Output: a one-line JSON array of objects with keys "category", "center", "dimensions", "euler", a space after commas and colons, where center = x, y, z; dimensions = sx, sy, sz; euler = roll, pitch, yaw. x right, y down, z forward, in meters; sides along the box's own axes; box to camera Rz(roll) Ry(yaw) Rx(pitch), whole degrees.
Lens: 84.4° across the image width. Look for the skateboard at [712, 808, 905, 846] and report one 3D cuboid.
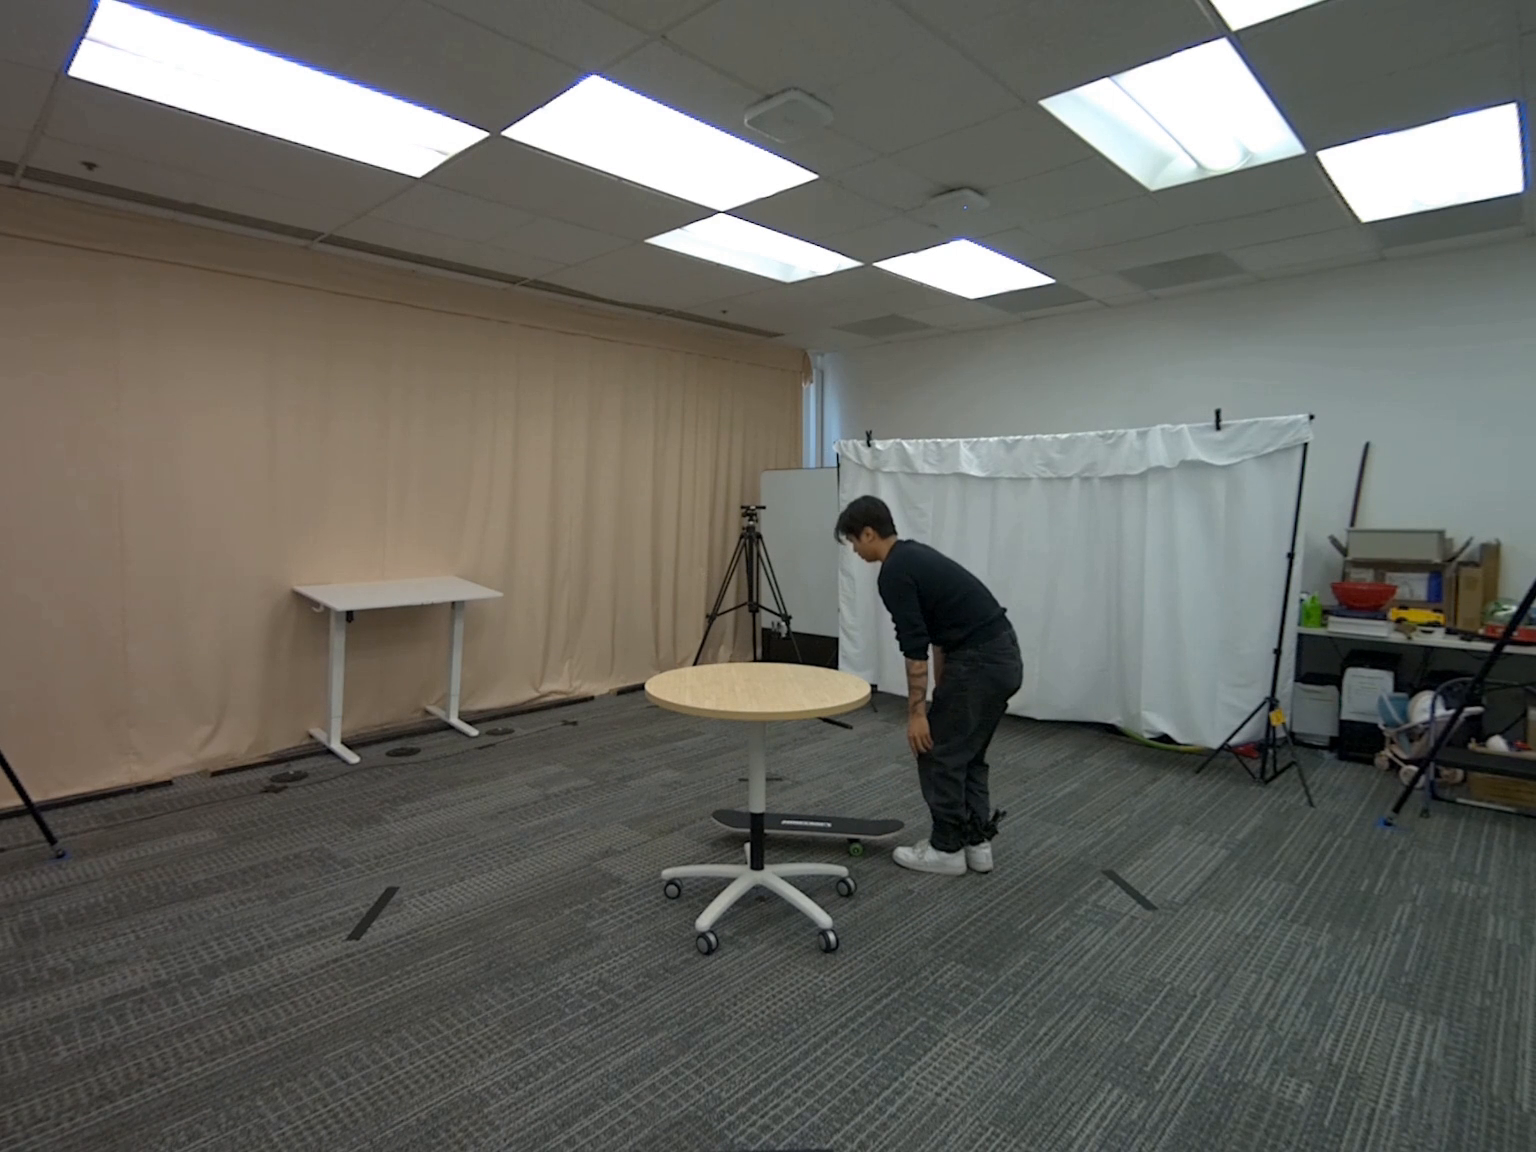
[{"category": "skateboard", "center": [0.157, 1.048, 3.456], "dimensions": [0.793, 0.110, 0.192], "euler": [1, 4, 9]}]
